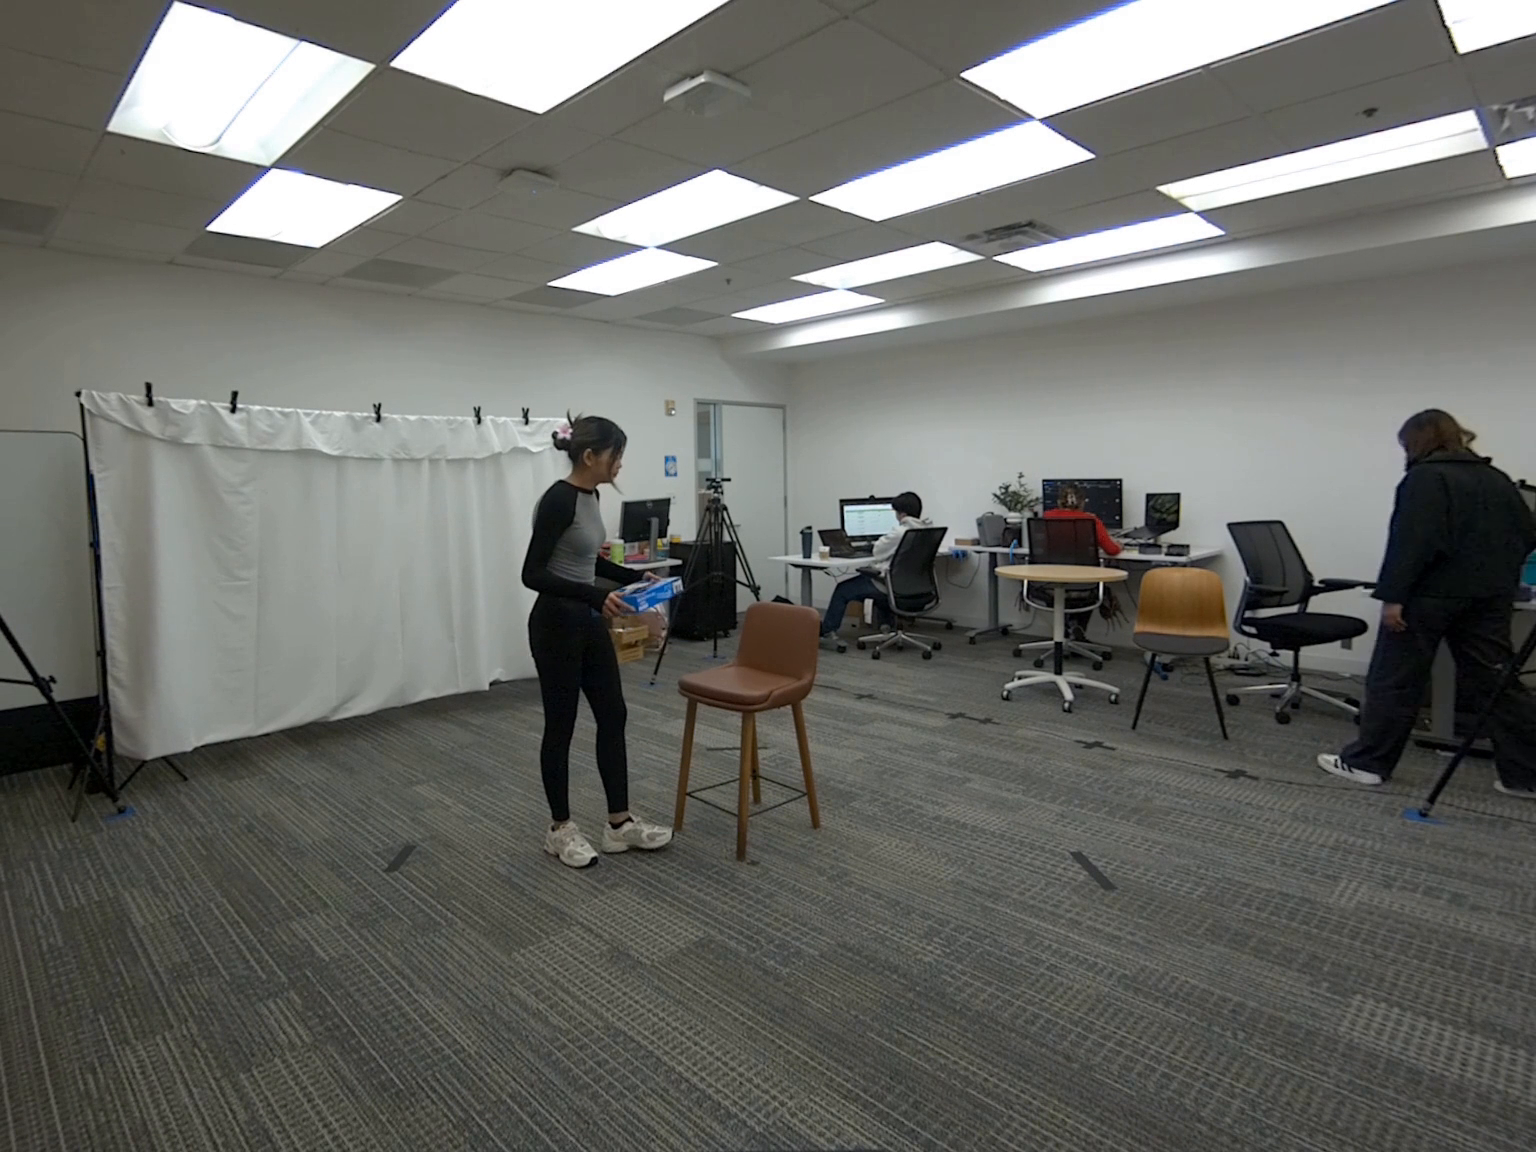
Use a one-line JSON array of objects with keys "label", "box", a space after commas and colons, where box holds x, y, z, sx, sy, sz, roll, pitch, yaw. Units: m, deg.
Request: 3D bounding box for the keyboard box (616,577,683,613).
[{"label": "keyboard box", "box": [-0.458, 0.070, 3.055, 0.178, 0.059, 0.432, -6, 7, 16]}]
